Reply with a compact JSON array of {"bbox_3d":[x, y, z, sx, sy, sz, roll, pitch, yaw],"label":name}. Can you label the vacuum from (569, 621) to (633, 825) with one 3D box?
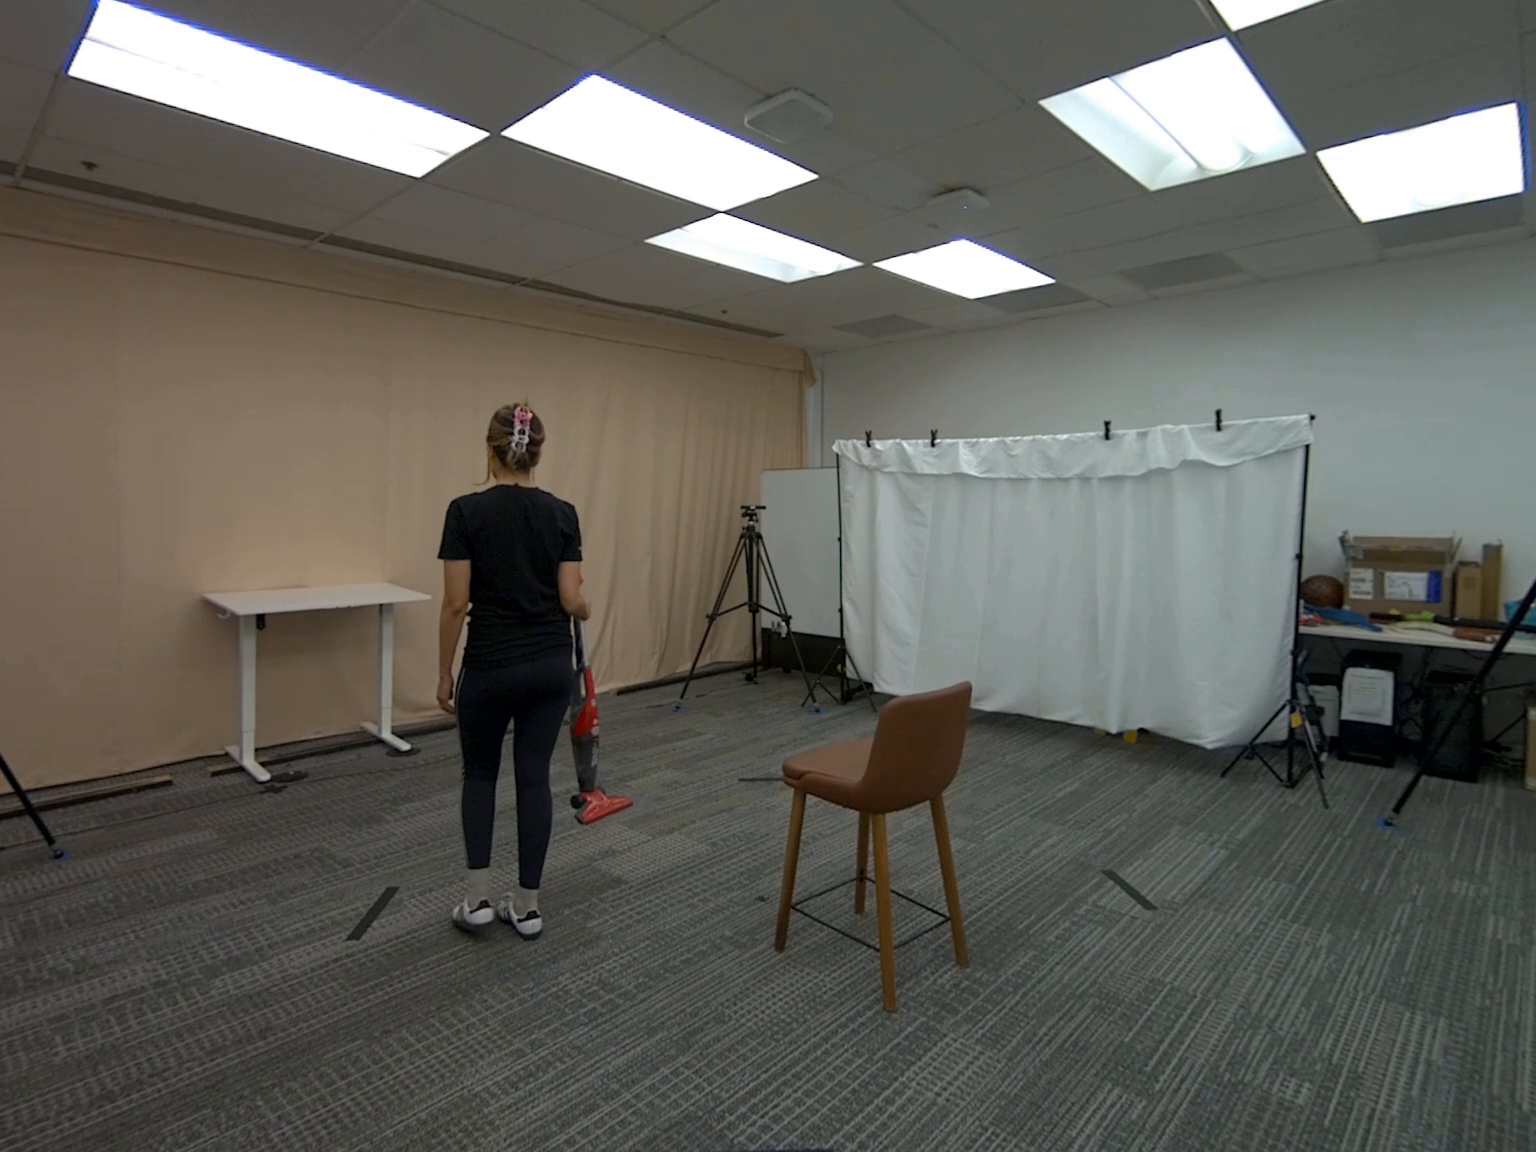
[{"bbox_3d":[-0.703,0.340,3.119,0.148,1.053,0.245,-13,-6,42],"label":"vacuum"}]
